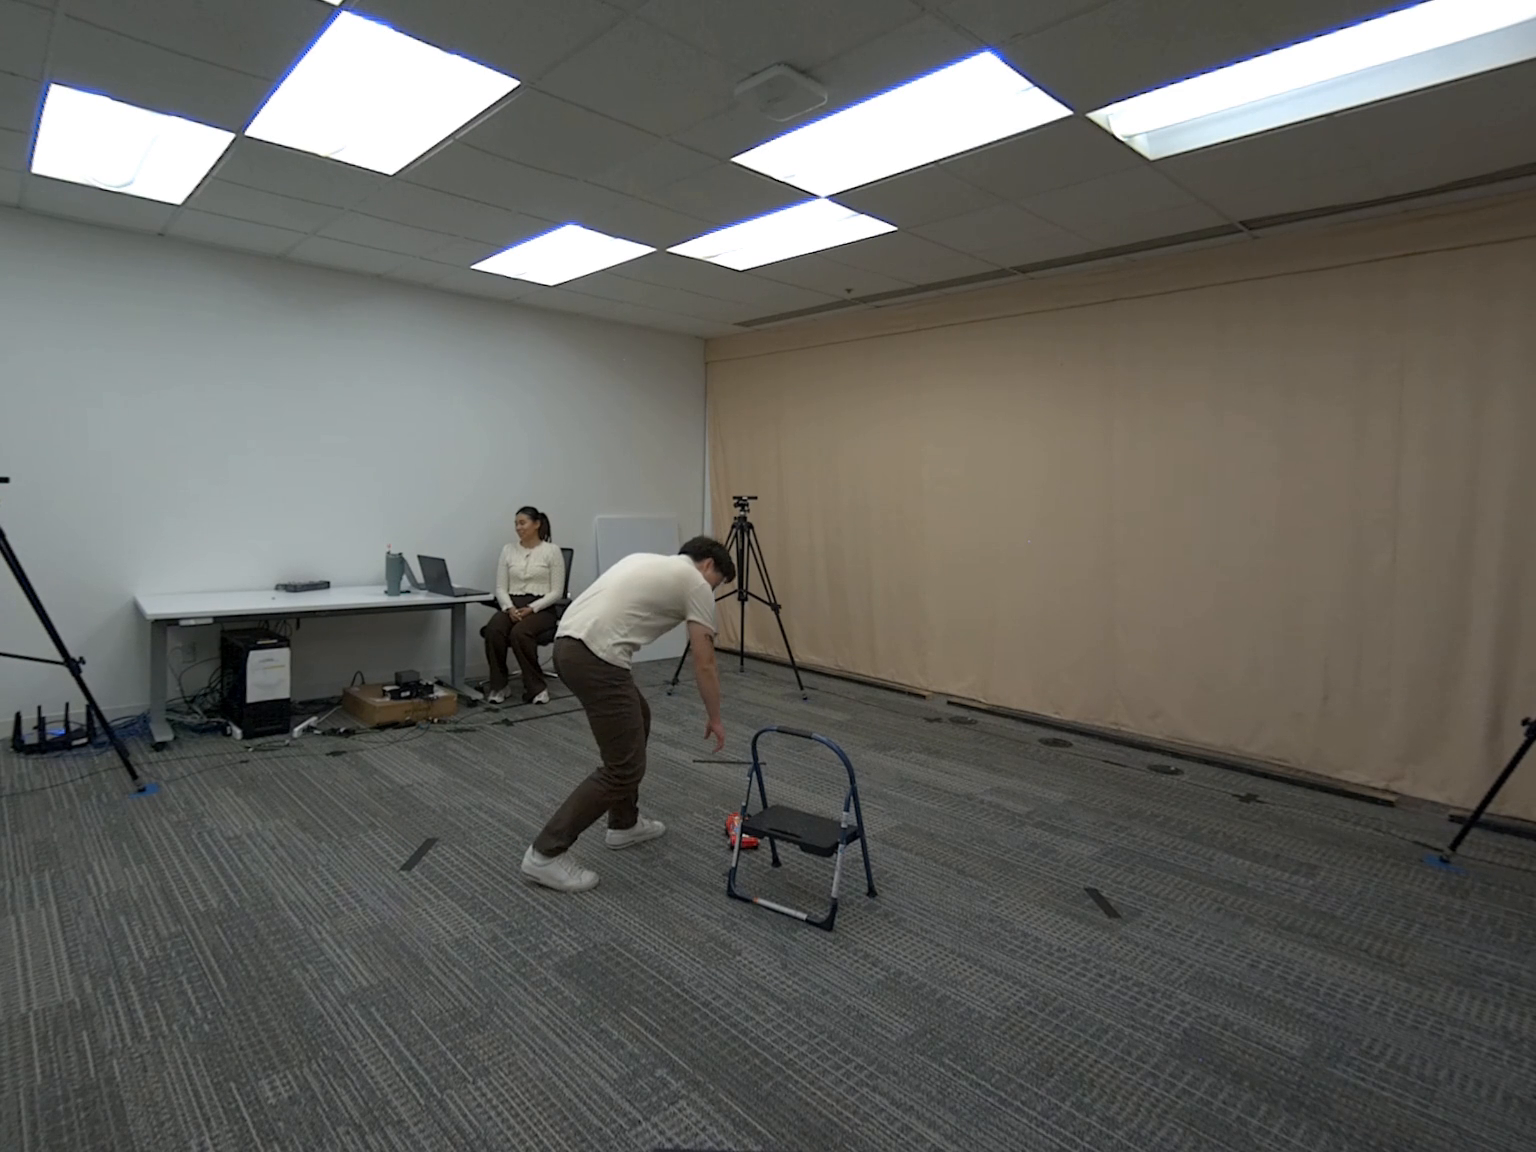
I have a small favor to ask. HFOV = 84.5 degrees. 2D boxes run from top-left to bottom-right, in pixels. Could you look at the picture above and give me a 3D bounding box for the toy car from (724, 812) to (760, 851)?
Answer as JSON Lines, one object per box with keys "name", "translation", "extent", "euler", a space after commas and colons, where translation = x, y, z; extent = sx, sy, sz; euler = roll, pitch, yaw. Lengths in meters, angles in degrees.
{"name": "toy car", "translation": [-0.122, 1.047, 3.446], "extent": [0.129, 0.082, 0.259], "euler": [0, 17, -10]}
